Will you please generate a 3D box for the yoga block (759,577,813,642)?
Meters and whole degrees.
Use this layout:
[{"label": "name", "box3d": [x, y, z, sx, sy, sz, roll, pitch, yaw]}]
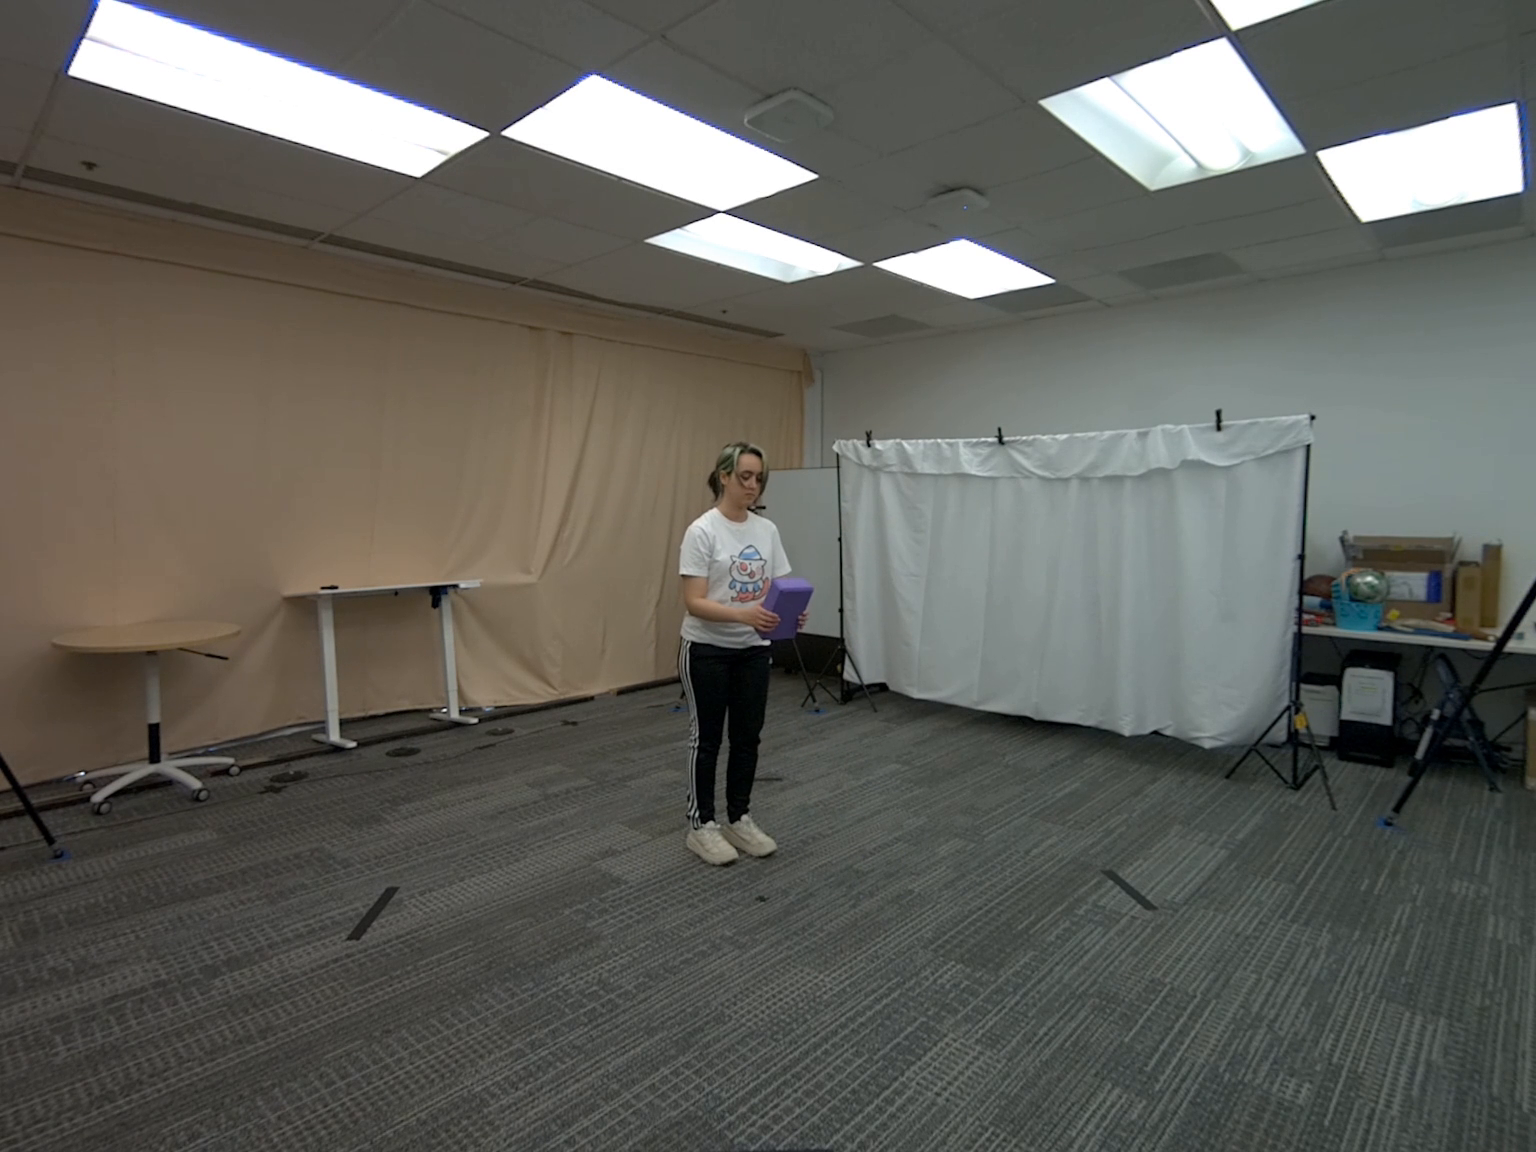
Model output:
[{"label": "yoga block", "box3d": [0.062, 0.118, 3.029, 0.145, 0.228, 0.079, 0, 34, -33]}]
